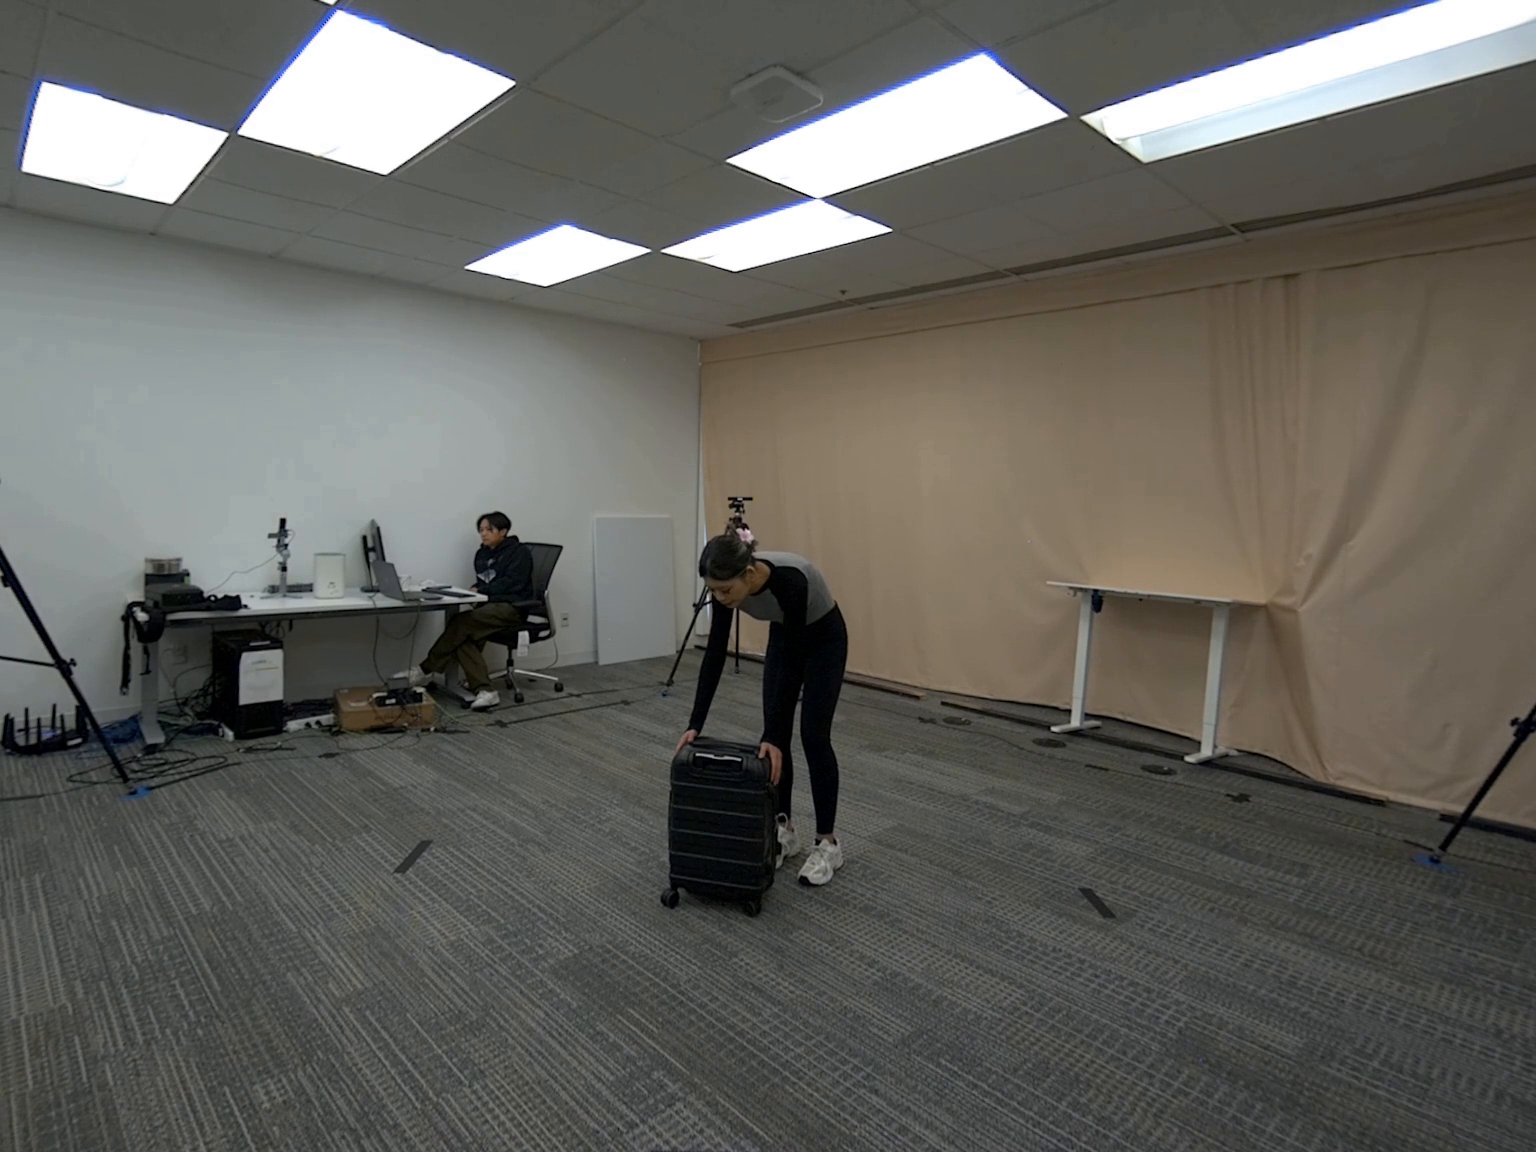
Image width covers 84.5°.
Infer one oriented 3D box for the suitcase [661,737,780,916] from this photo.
[{"bbox_3d":[-0.161,0.847,2.928,0.380,0.548,0.245,2,2,16],"label":"suitcase"}]
